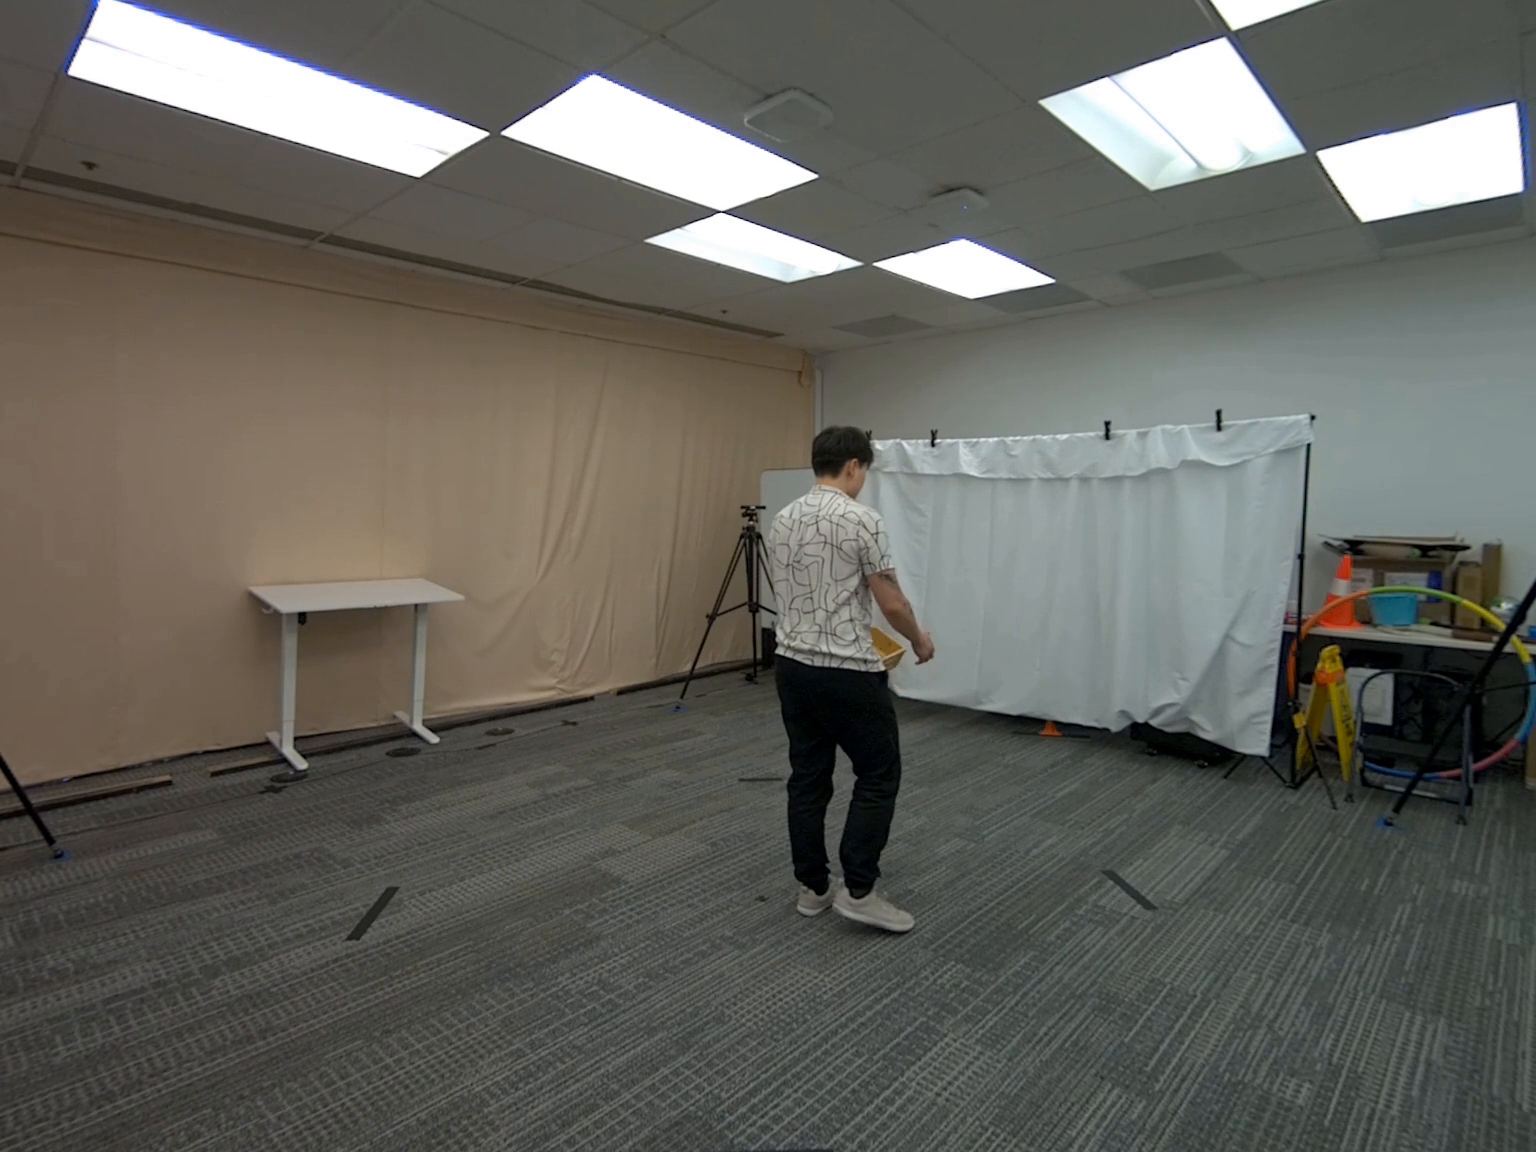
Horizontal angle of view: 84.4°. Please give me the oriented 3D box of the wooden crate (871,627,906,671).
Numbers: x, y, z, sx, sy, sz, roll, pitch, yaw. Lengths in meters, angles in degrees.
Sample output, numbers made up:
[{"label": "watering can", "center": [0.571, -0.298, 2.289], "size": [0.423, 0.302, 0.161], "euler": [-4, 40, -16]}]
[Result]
[{"label": "wooden crate", "center": [0.299, 0.322, 3.262], "size": [0.311, 0.272, 0.316], "euler": [38, 28, 26]}]
